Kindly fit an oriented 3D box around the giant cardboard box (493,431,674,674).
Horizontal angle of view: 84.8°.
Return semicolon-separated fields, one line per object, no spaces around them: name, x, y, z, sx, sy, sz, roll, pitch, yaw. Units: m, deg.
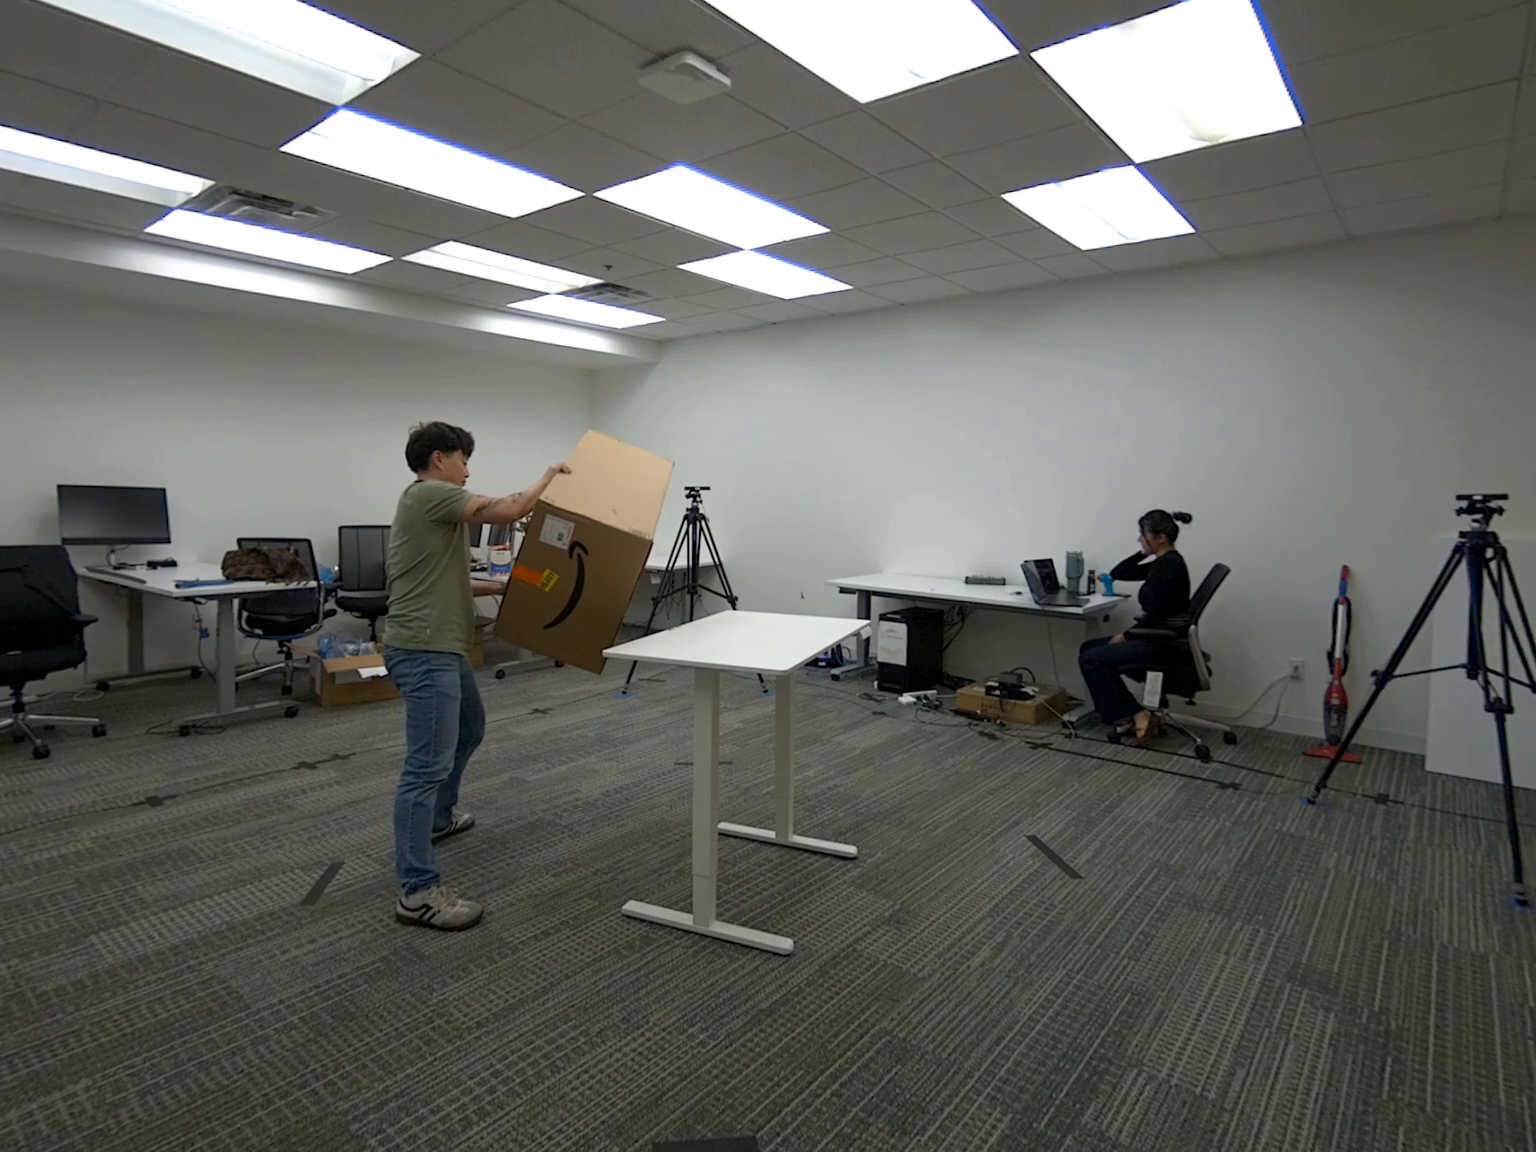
giant cardboard box;-0.723;-0.155;3.495;0.421;0.572;1.047;20;21;-10
